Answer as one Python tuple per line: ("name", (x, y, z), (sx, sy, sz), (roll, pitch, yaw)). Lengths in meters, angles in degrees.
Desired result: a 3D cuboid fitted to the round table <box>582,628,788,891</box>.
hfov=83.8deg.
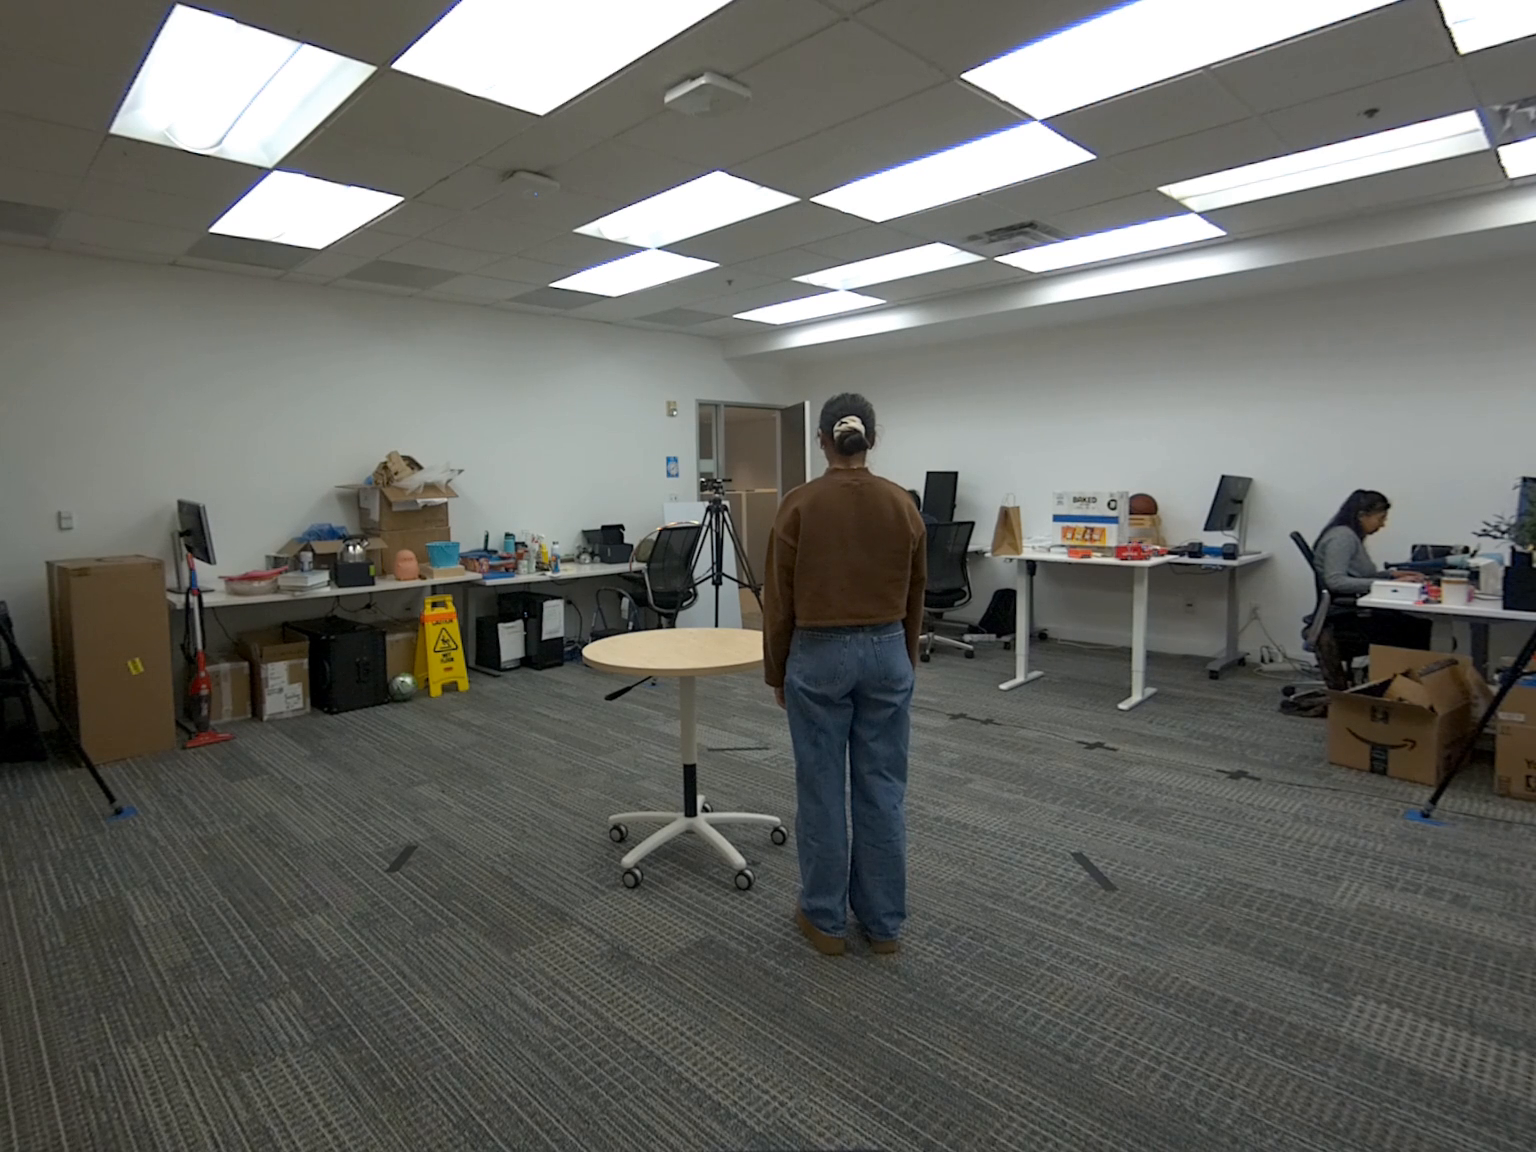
("round table", (-0.275, 0.646, 3.188), (0.784, 0.783, 0.789), (-2, 5, -1))
